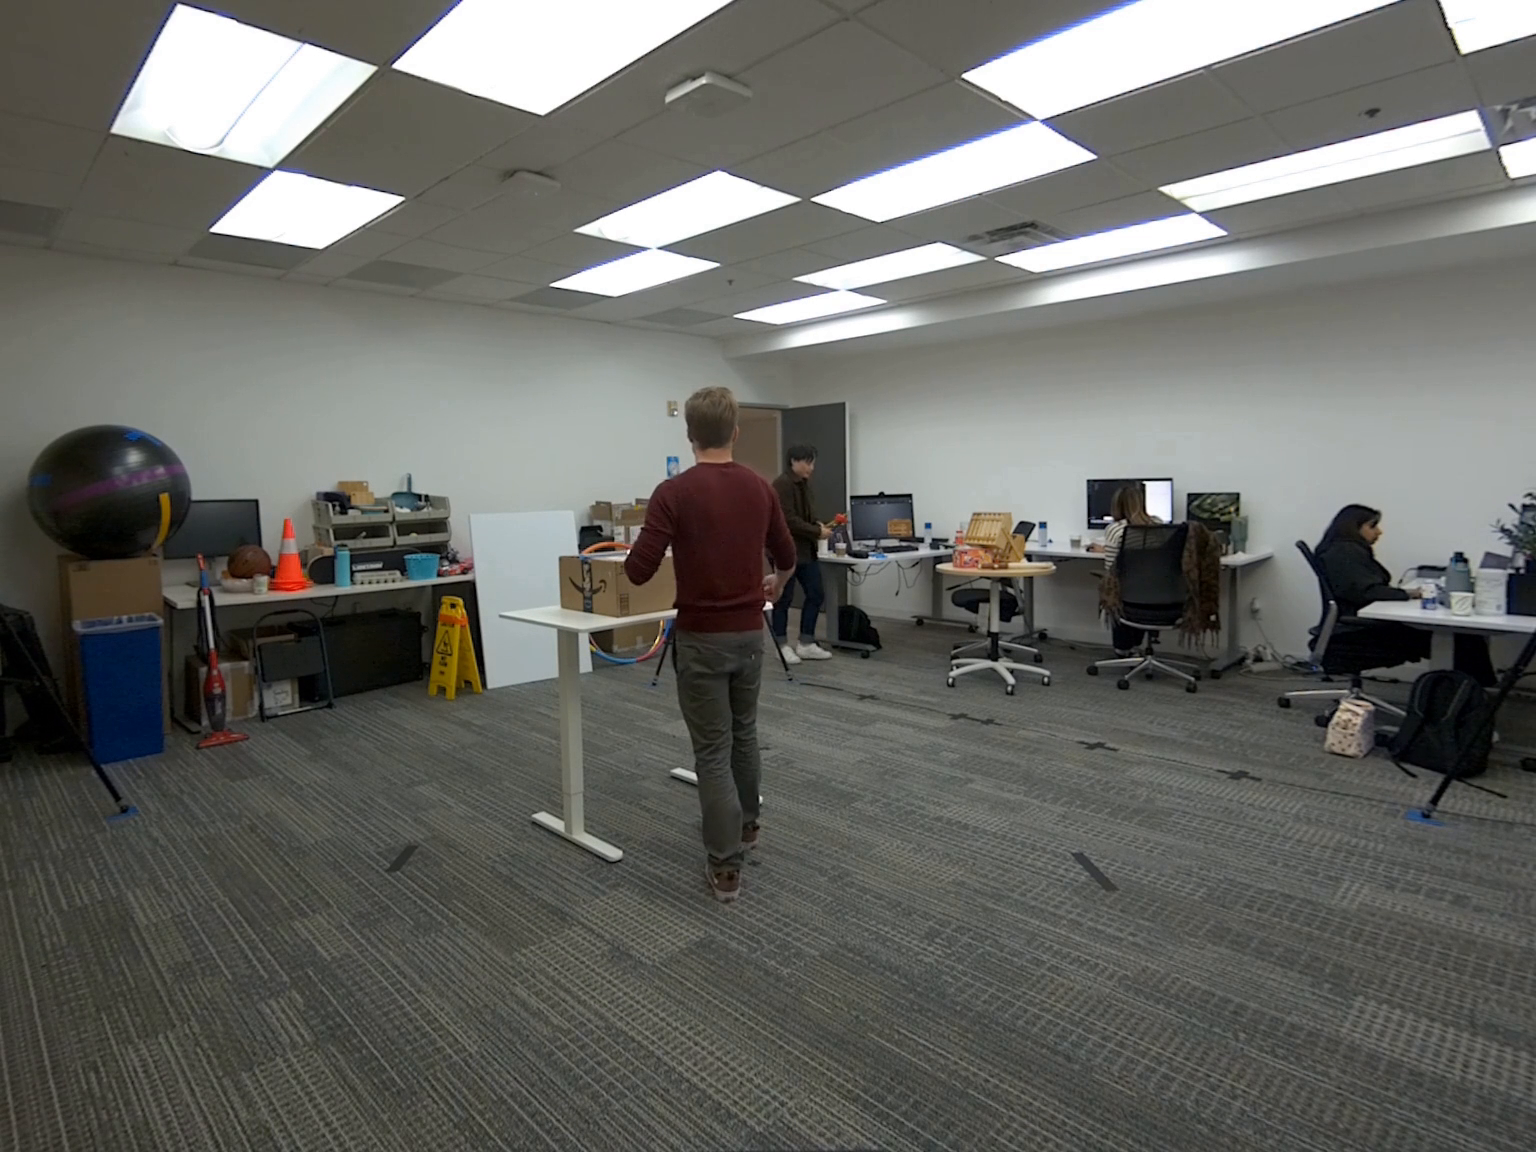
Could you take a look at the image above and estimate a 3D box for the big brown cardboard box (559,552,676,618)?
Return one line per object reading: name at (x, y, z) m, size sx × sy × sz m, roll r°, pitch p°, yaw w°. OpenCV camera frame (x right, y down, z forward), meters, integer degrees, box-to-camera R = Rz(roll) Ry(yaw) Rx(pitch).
big brown cardboard box at (-0.519, 0.011, 3.554) m, size 0.573 × 0.232 × 0.430 m, roll -7°, pitch 7°, yaw -44°
